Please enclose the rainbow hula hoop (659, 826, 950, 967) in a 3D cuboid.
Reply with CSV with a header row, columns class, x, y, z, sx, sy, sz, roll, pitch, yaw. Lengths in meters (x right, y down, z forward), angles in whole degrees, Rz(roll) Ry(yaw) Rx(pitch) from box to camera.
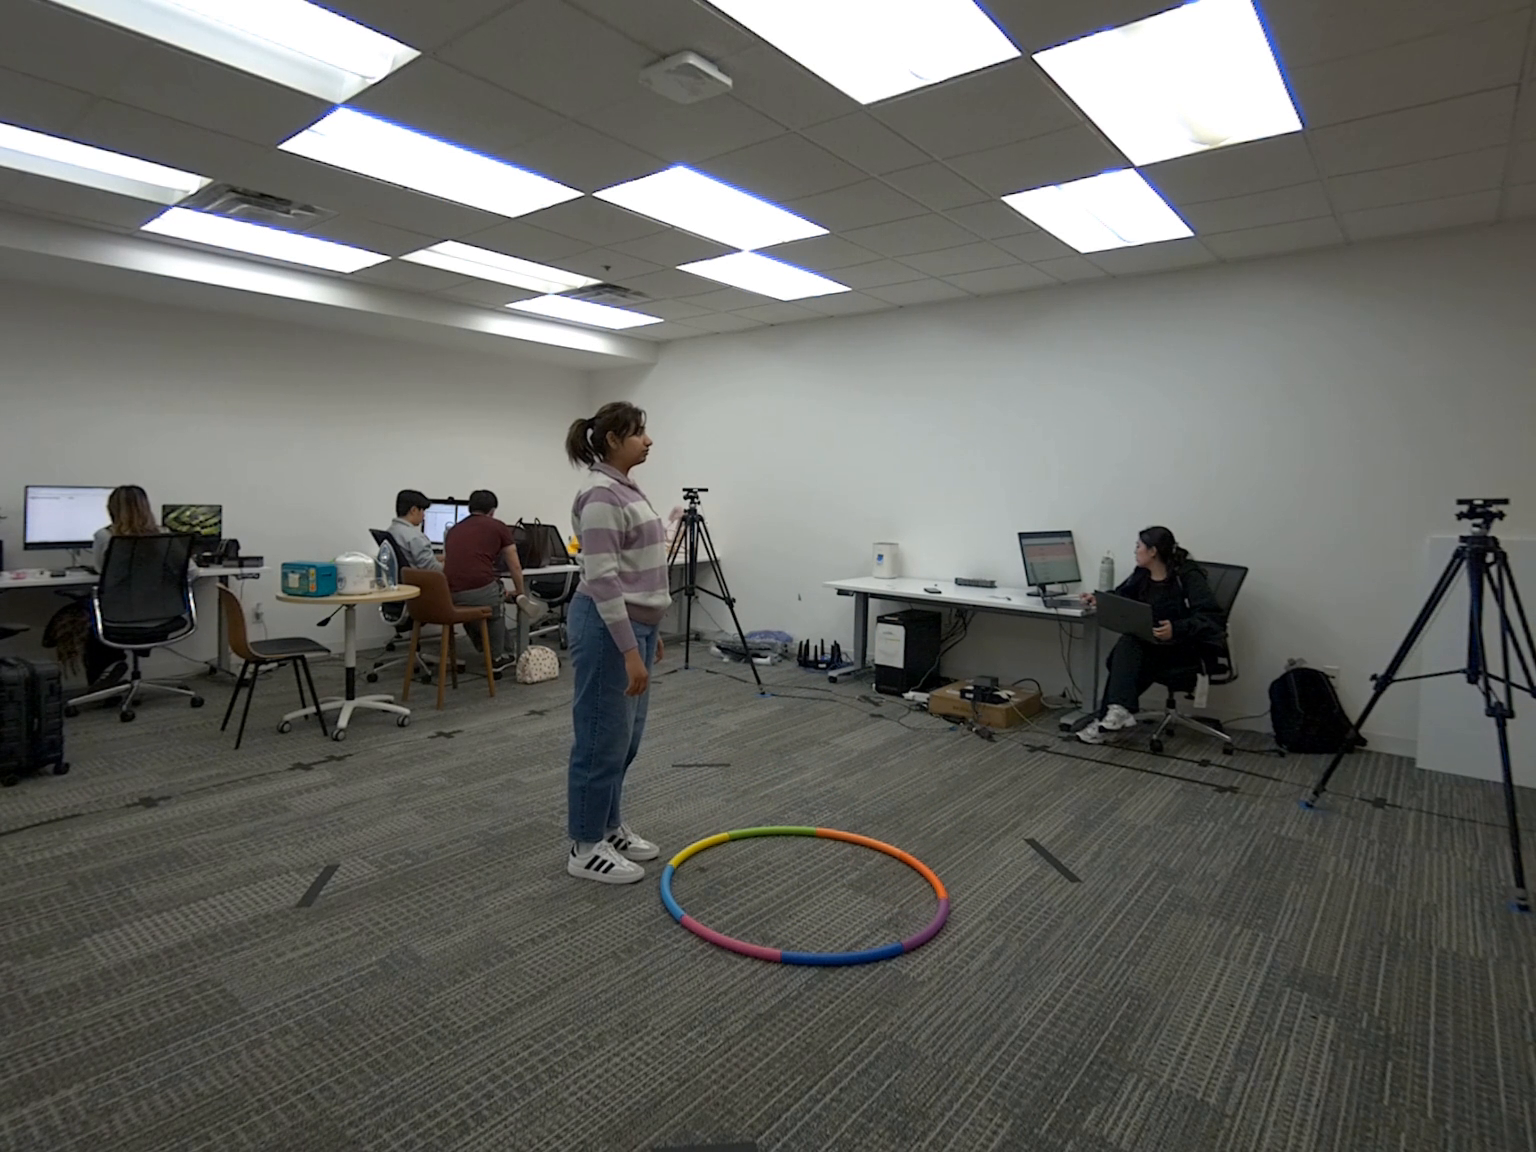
class,x,y,z,sx,sy,sz,roll,pitch,yaw
rainbow hula hoop,0.106,1.056,2.972,0.978,0.035,0.985,1,6,-2
